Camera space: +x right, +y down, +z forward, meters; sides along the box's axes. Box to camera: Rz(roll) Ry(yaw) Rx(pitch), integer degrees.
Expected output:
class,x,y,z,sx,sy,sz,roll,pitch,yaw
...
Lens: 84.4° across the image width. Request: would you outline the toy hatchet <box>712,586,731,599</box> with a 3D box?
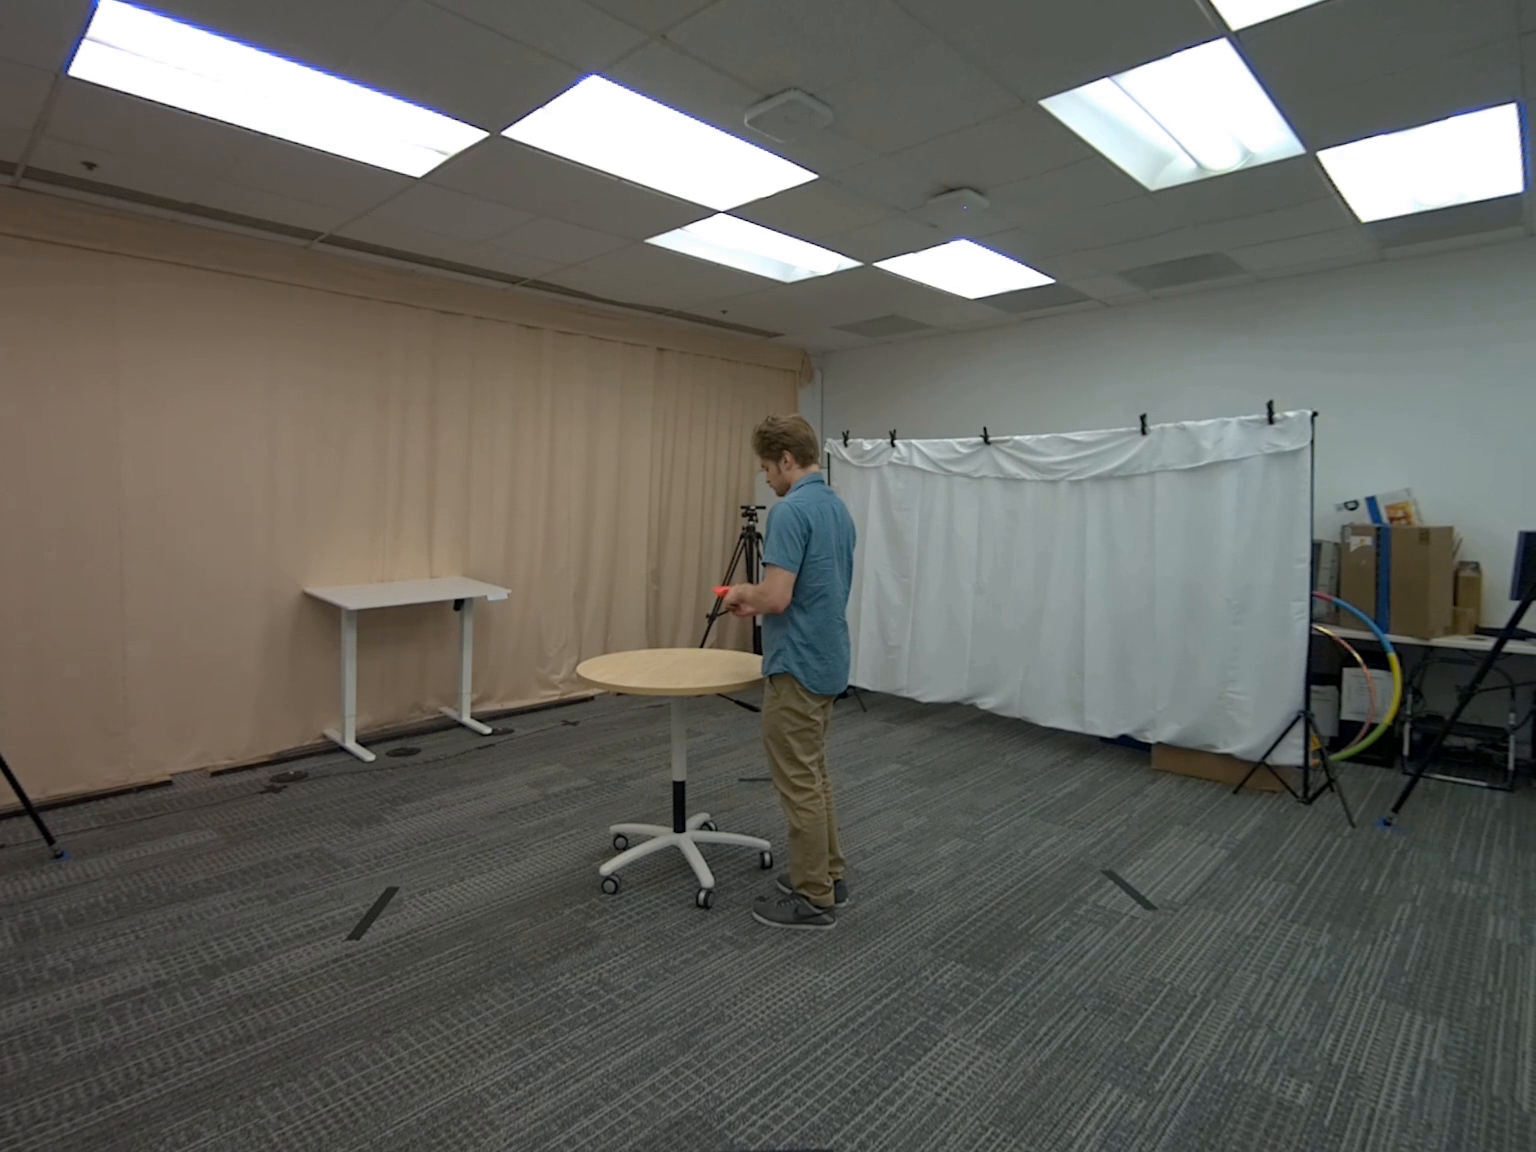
class,x,y,z,sx,sy,sz,roll,pitch,yaw
toy hatchet,-0.125,0.076,2.996,0.132,0.029,0.268,8,11,8
